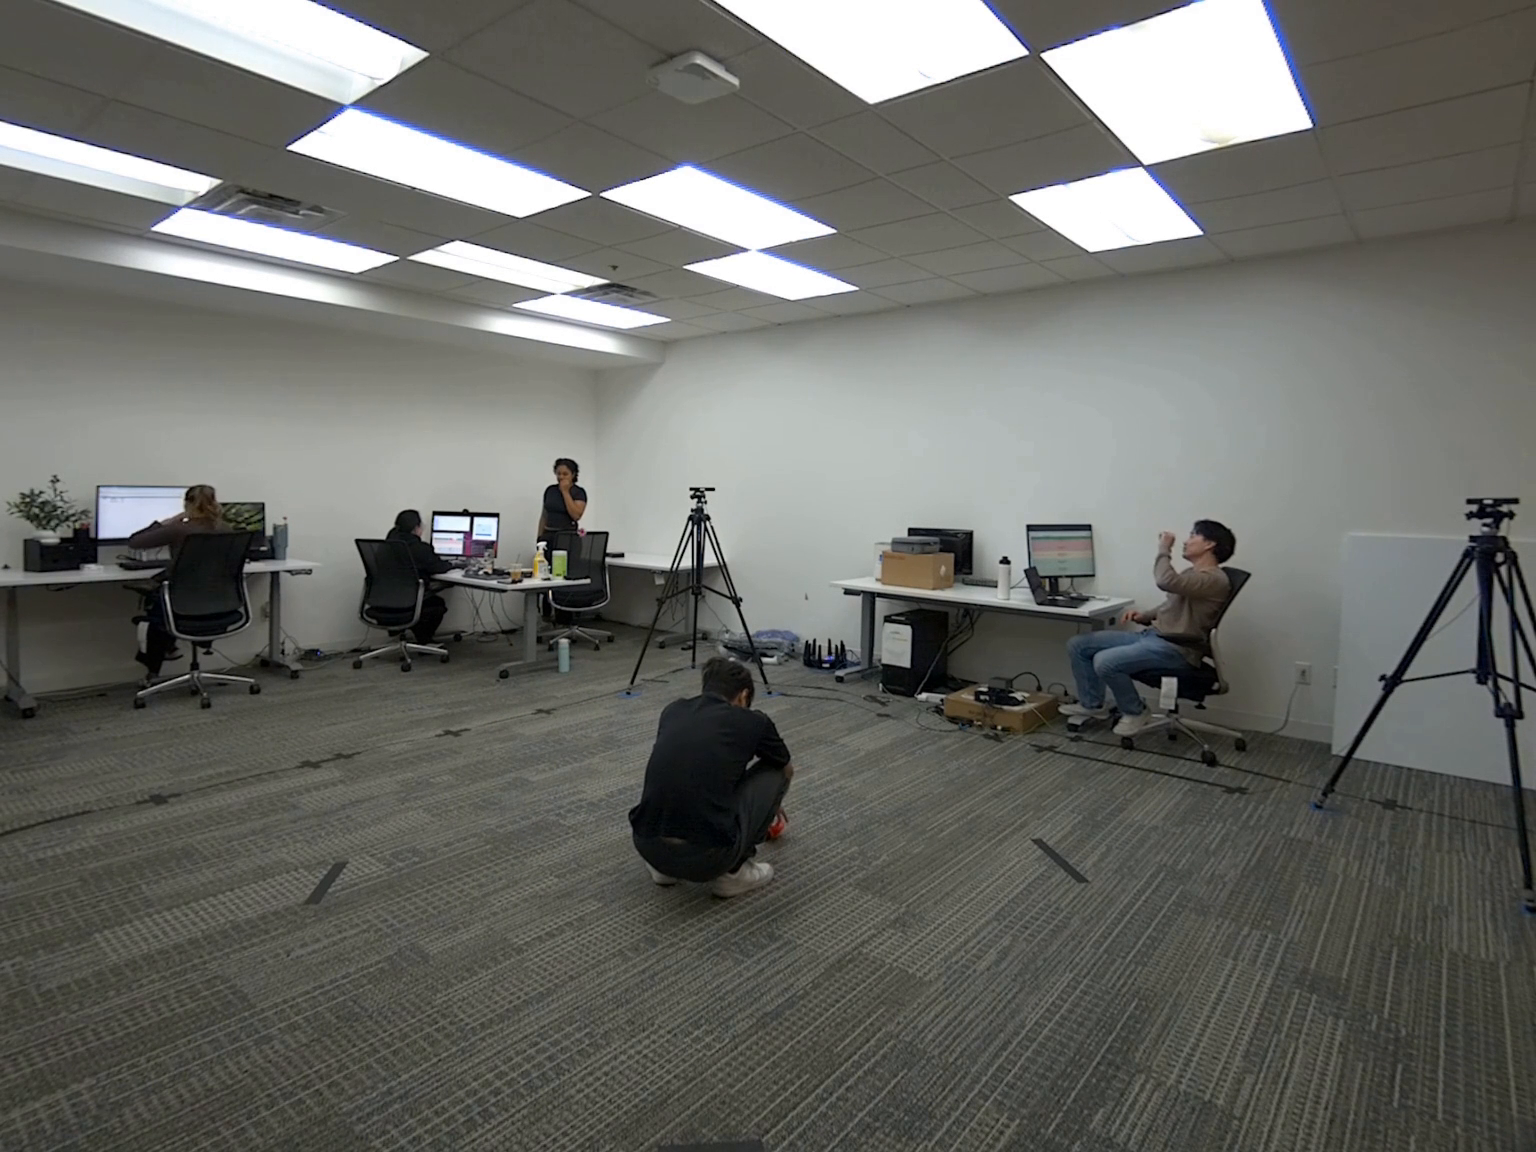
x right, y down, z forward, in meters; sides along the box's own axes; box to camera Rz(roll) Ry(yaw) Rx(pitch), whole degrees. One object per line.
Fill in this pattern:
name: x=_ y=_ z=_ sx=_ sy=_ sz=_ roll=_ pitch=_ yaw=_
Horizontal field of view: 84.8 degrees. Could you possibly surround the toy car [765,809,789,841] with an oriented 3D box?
toy car: x=-0.061 y=1.004 z=3.424 sx=0.258 sy=0.083 sz=0.128 roll=-7 pitch=0 yaw=13
